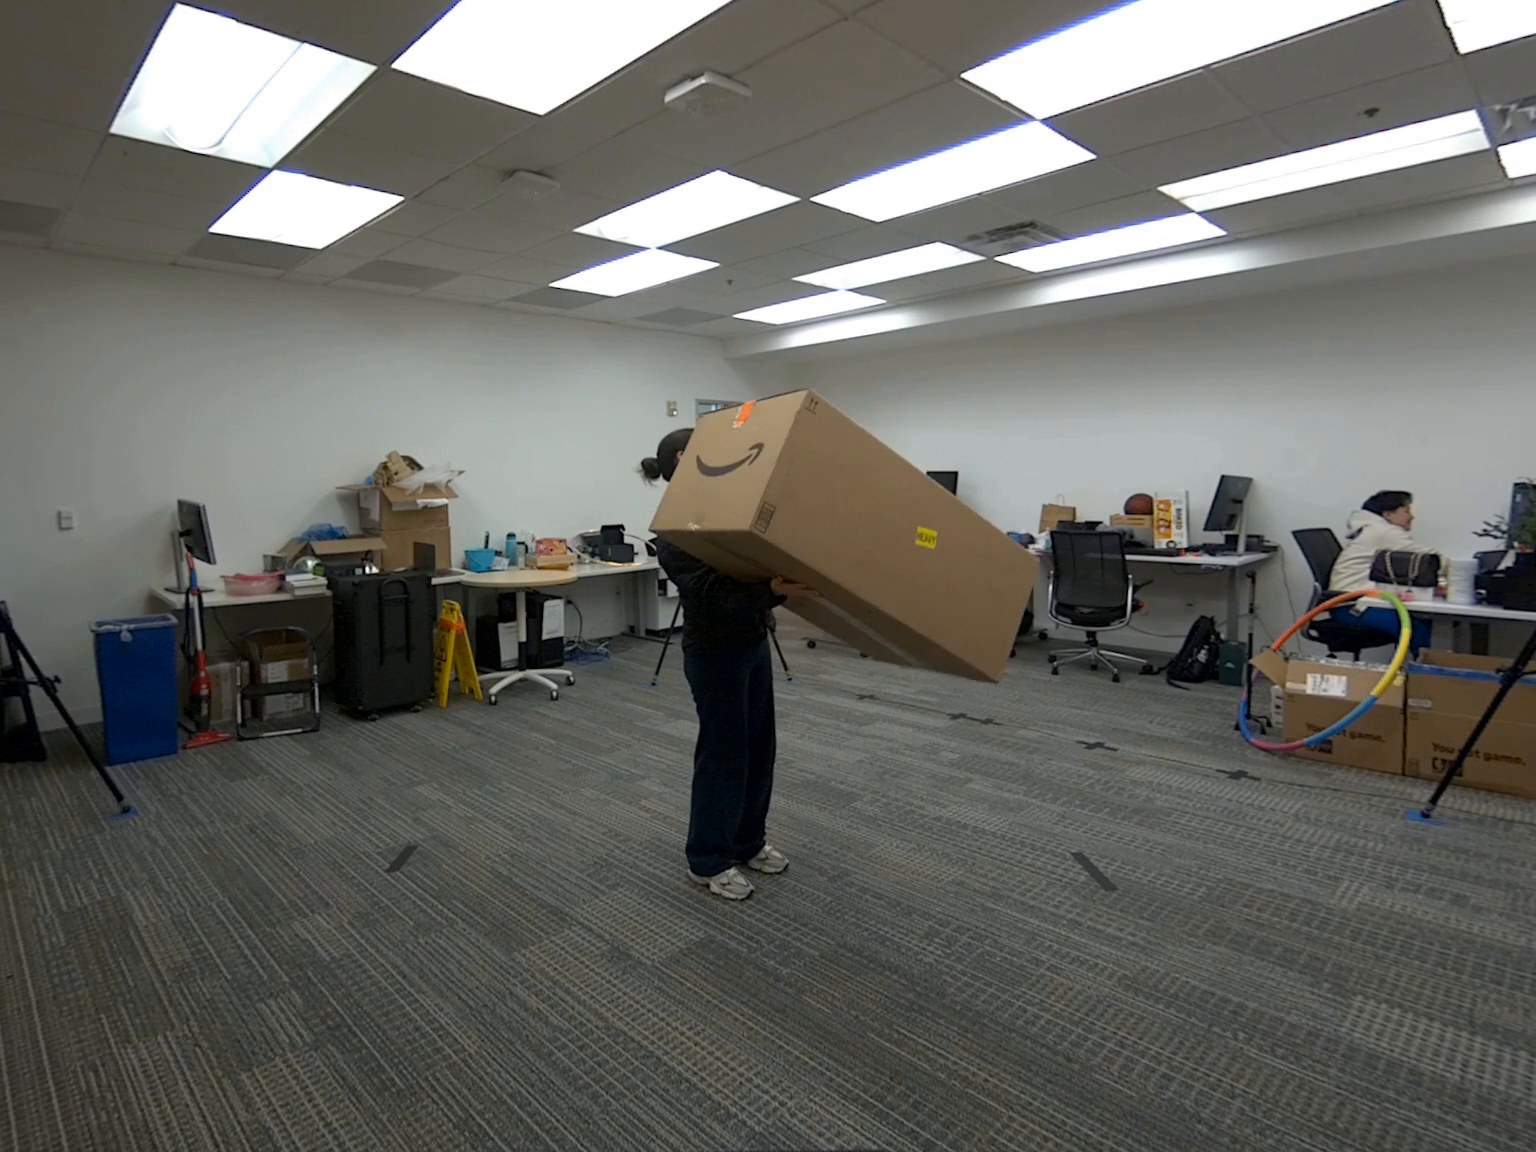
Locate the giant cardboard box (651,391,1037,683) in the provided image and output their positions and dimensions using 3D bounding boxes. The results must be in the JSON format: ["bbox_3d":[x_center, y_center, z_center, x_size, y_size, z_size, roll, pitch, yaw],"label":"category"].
[{"bbox_3d":[0.239,-0.097,2.676,0.993,0.429,0.593,31,-15,-29],"label":"giant cardboard box"}]
